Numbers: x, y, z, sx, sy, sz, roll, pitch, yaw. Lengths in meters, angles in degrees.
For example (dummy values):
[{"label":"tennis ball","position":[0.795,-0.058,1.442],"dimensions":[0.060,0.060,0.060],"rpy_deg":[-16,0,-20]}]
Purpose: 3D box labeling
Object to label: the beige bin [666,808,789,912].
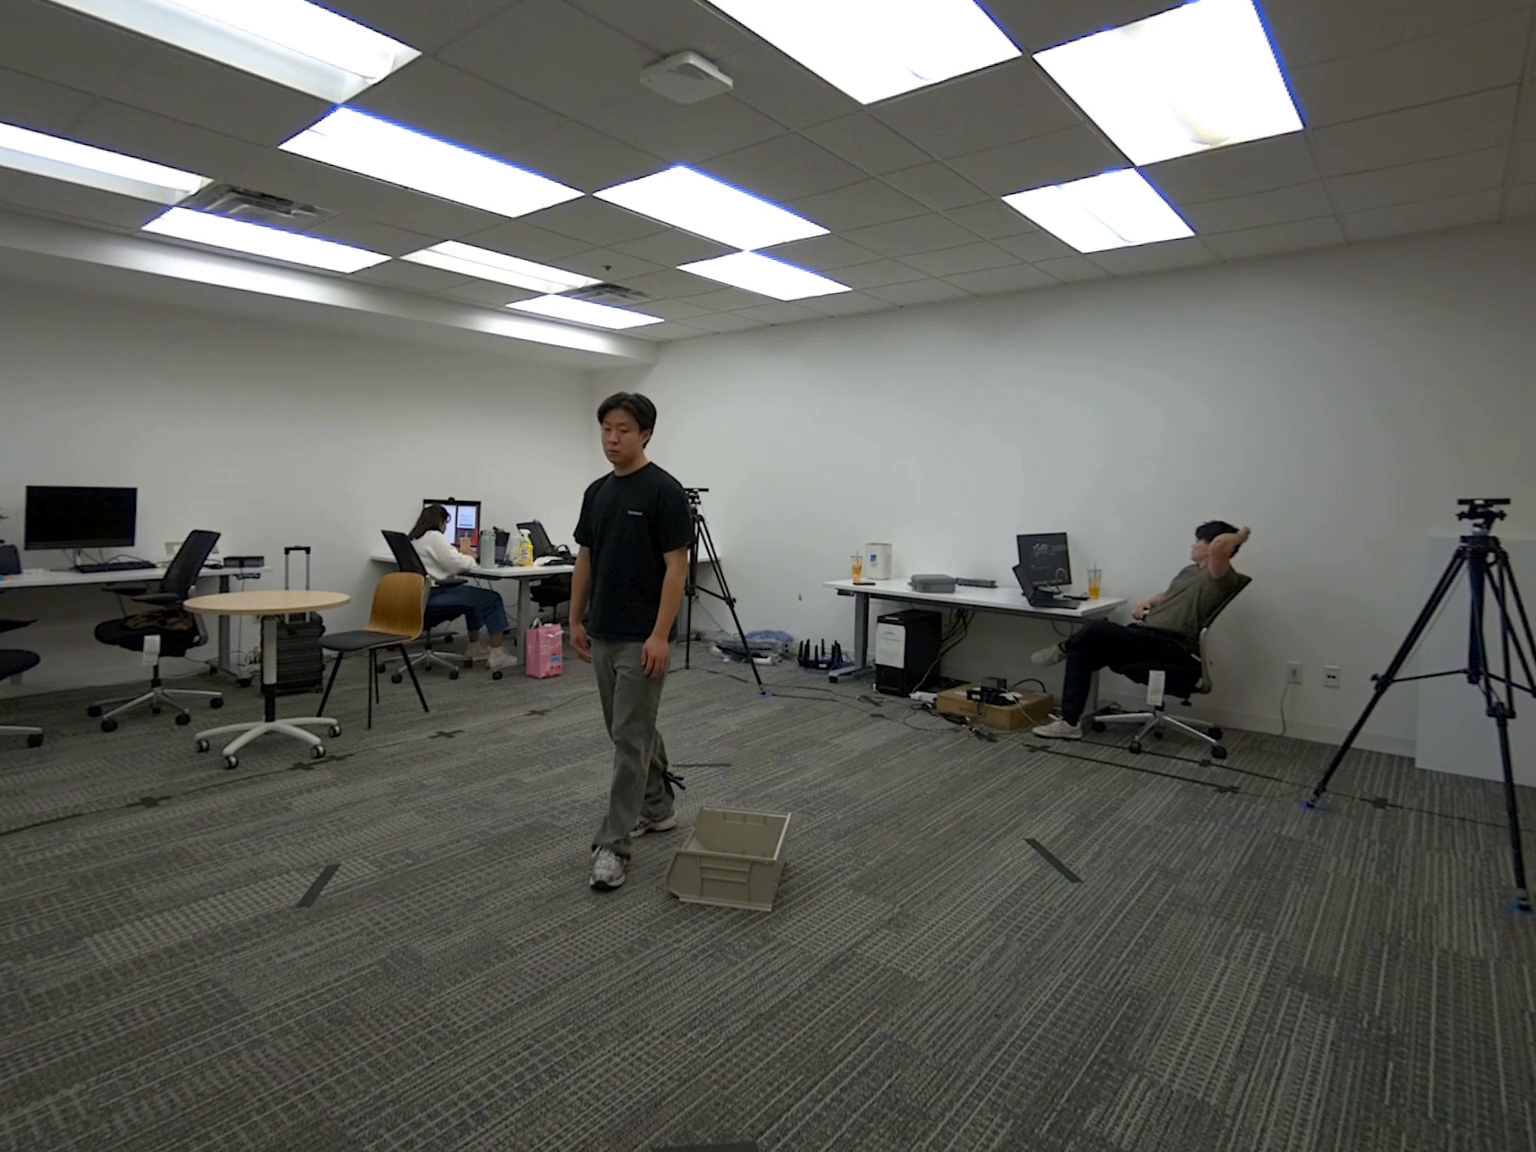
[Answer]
[{"label":"beige bin","position":[-0.137,0.991,3.026],"dimensions":[0.382,0.188,0.419],"rpy_deg":[3,5,9]}]
